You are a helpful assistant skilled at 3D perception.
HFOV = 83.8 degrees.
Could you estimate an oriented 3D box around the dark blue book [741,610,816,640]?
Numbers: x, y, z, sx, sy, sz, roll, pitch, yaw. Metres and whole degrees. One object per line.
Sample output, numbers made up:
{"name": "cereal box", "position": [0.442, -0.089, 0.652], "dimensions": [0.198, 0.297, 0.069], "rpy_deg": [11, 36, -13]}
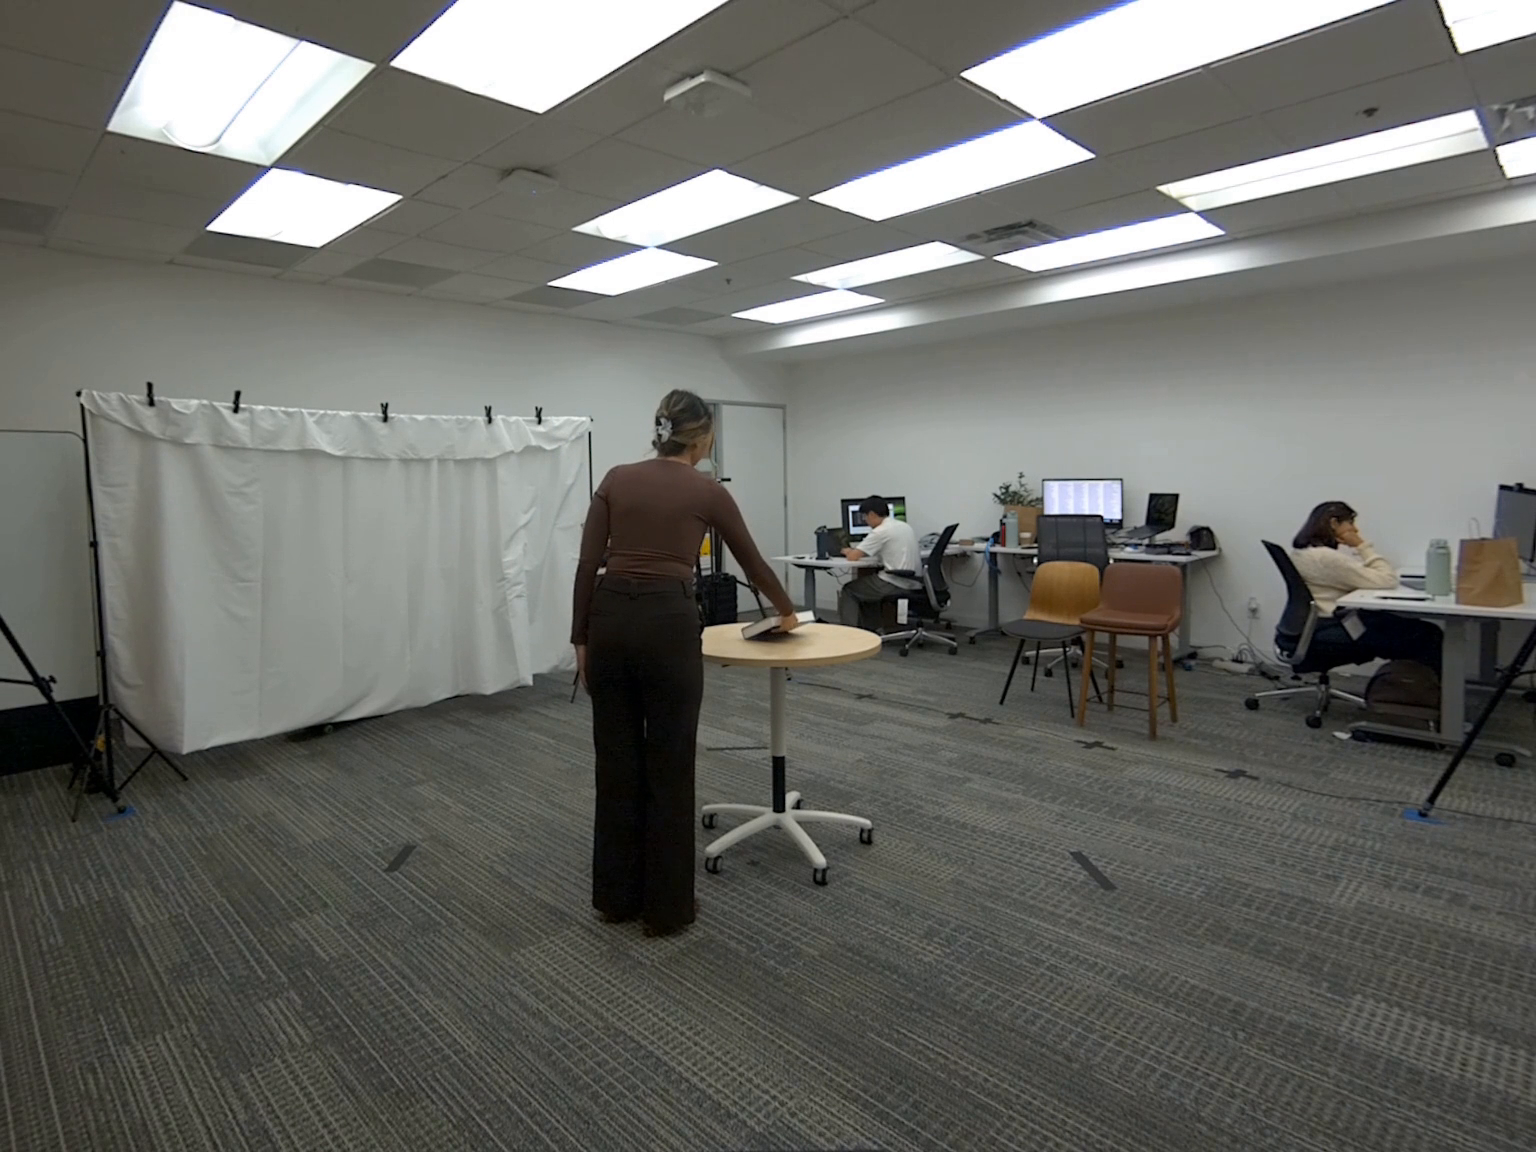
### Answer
{"name": "dark blue book", "position": [0.037, 0.183, 3.206], "dimensions": [0.238, 0.046, 0.166], "rpy_deg": [-6, -14, -46]}
